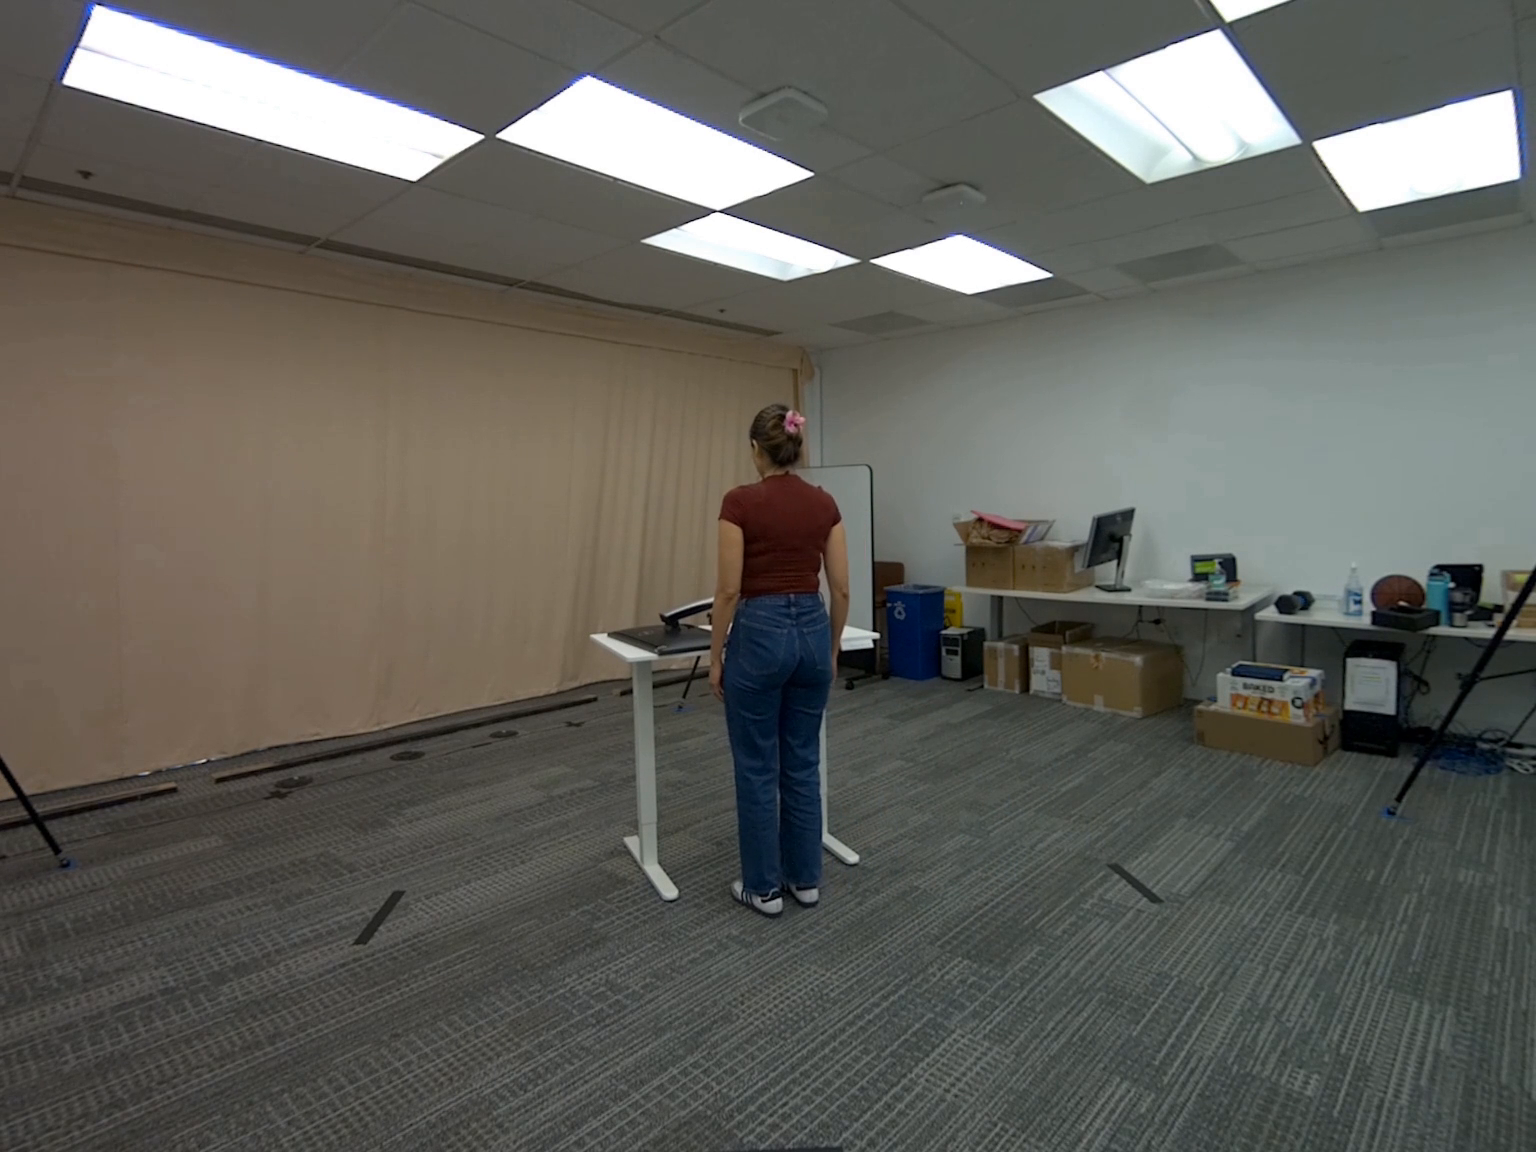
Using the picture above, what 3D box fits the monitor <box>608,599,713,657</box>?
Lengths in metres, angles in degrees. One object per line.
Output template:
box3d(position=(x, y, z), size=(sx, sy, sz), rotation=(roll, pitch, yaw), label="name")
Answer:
box3d(position=(-0.290, 0.181, 3.237), size=(0.513, 0.185, 0.554), rotation=(-23, 13, -25), label="monitor")
